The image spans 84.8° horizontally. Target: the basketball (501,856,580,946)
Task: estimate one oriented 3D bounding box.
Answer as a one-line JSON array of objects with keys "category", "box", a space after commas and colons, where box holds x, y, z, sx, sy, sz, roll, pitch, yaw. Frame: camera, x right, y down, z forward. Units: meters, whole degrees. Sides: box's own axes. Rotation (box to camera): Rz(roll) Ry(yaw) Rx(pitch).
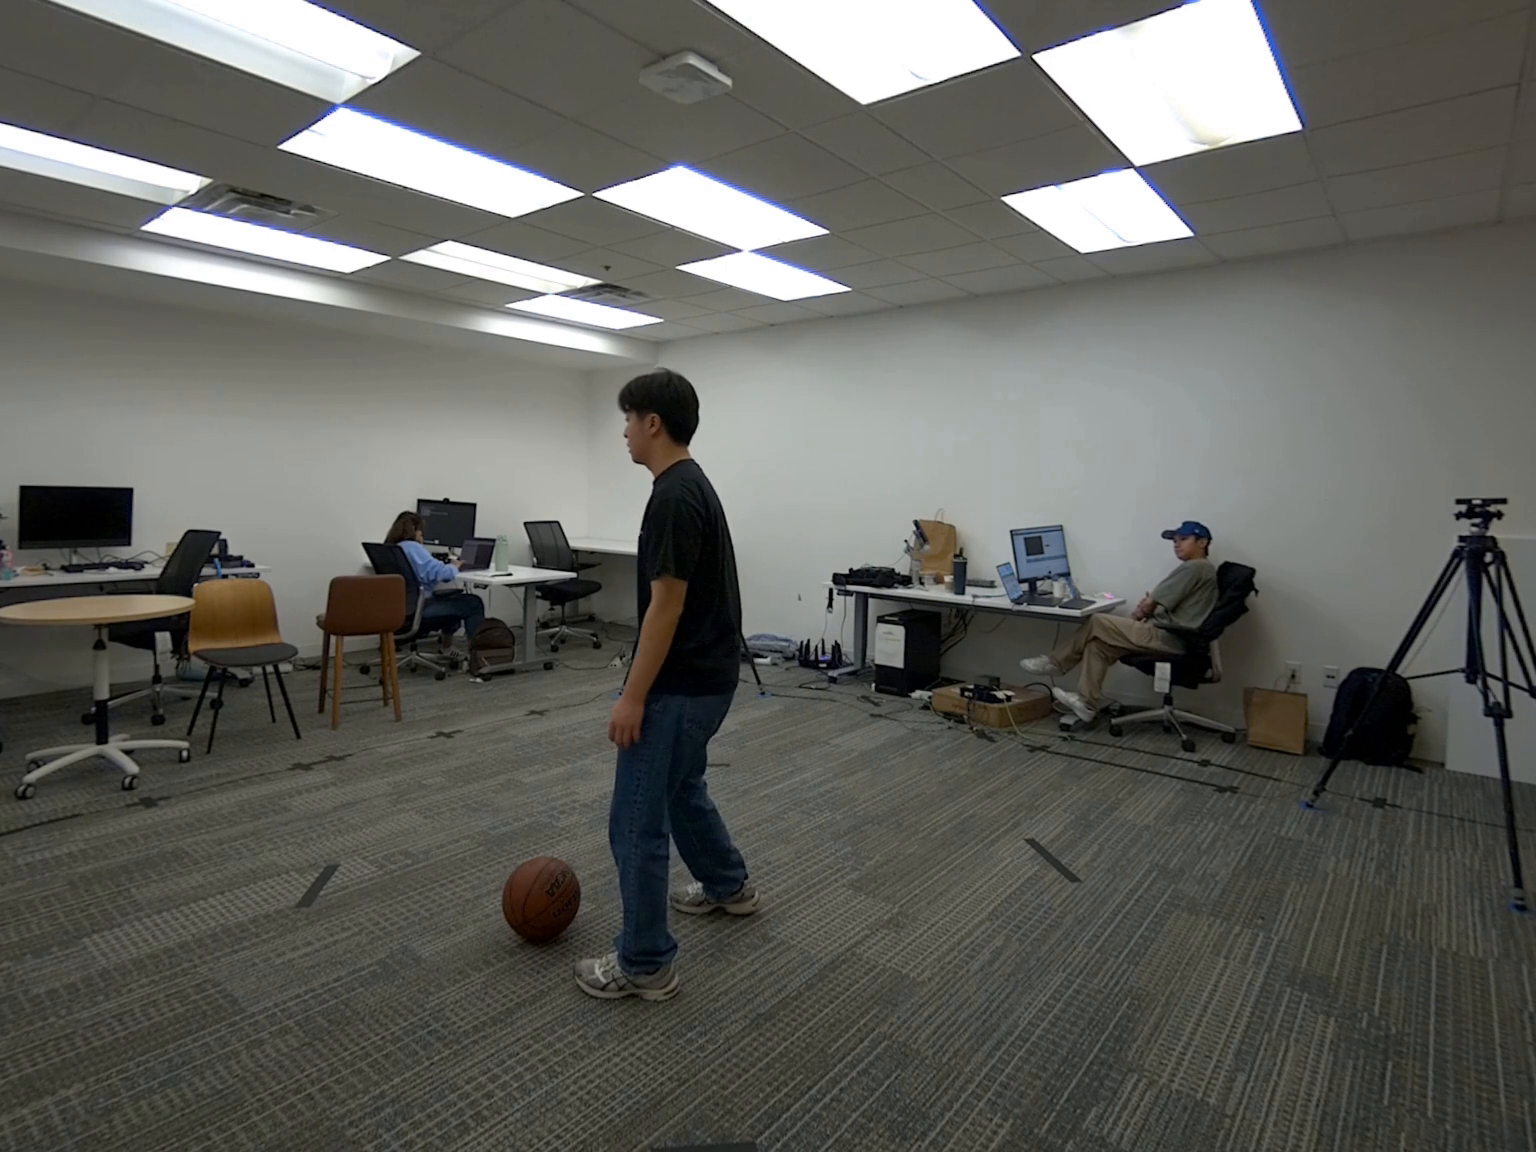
[{"category": "basketball", "box": [-0.707, 0.993, 2.624, 0.236, 0.235, 0.237, 1, 4, -2]}]
